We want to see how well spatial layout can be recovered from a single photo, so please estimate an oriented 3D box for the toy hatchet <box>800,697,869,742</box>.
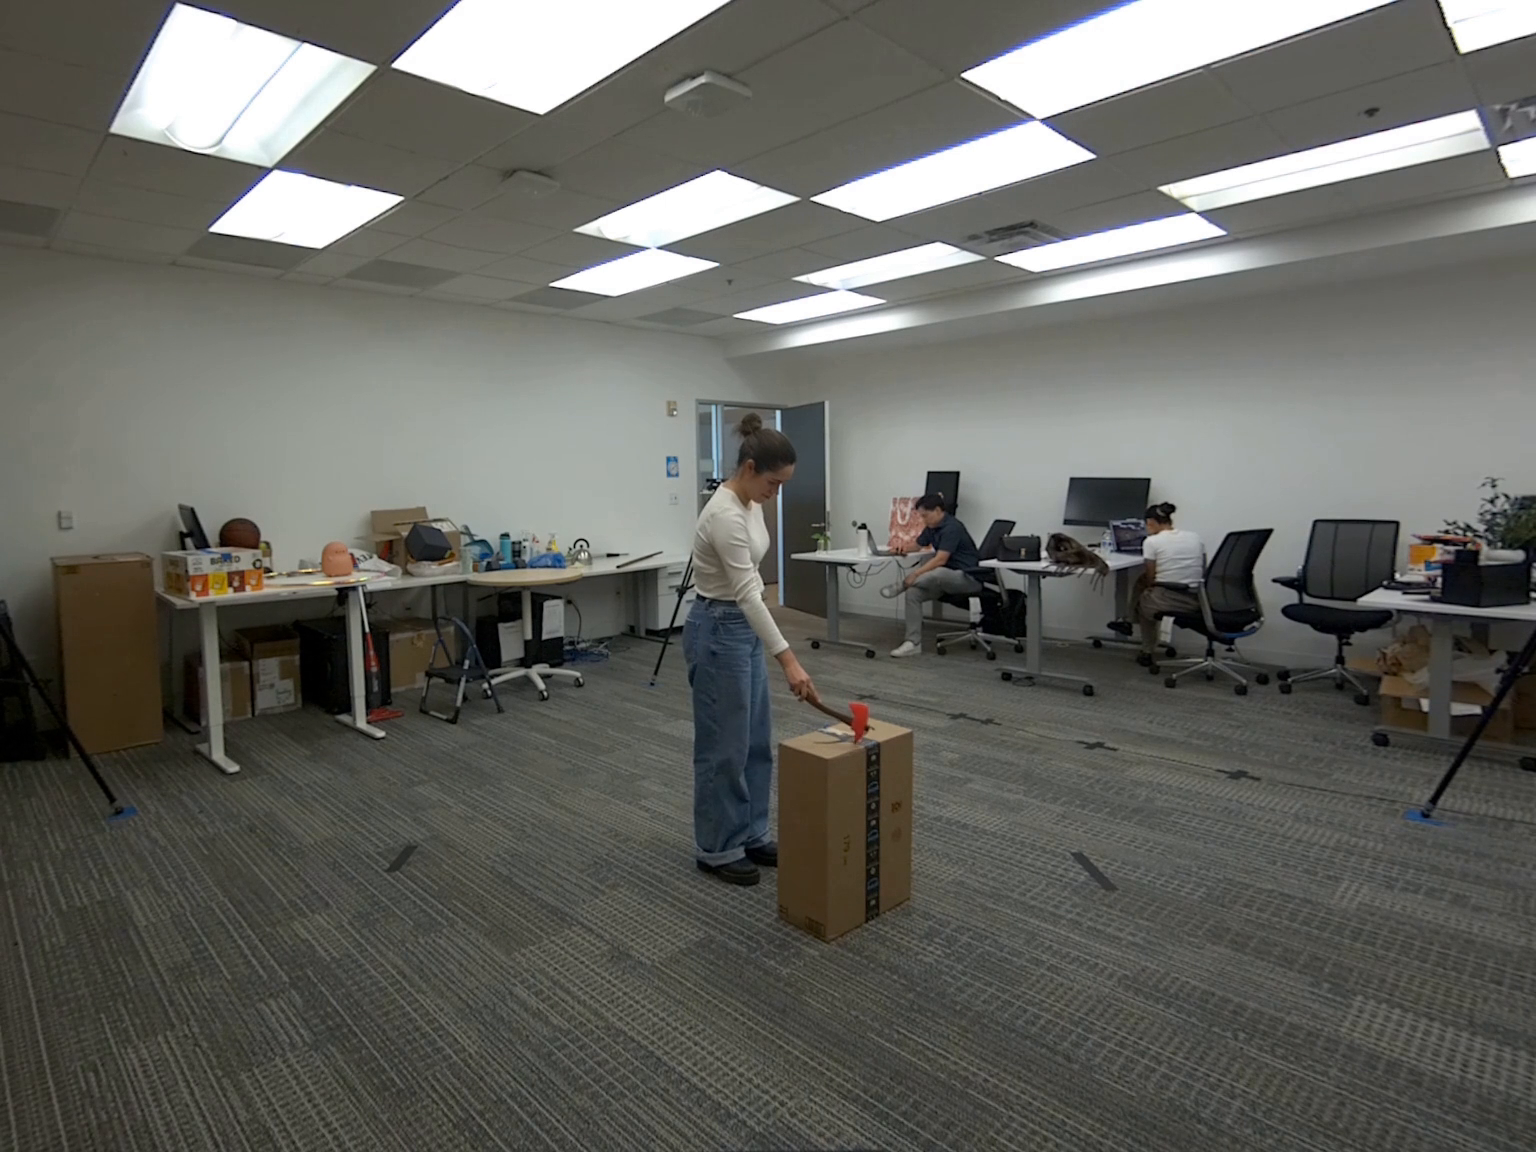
[{"bbox_3d":[0.211,0.395,2.691,0.278,0.130,0.029,42,26,22],"label":"toy hatchet"}]
